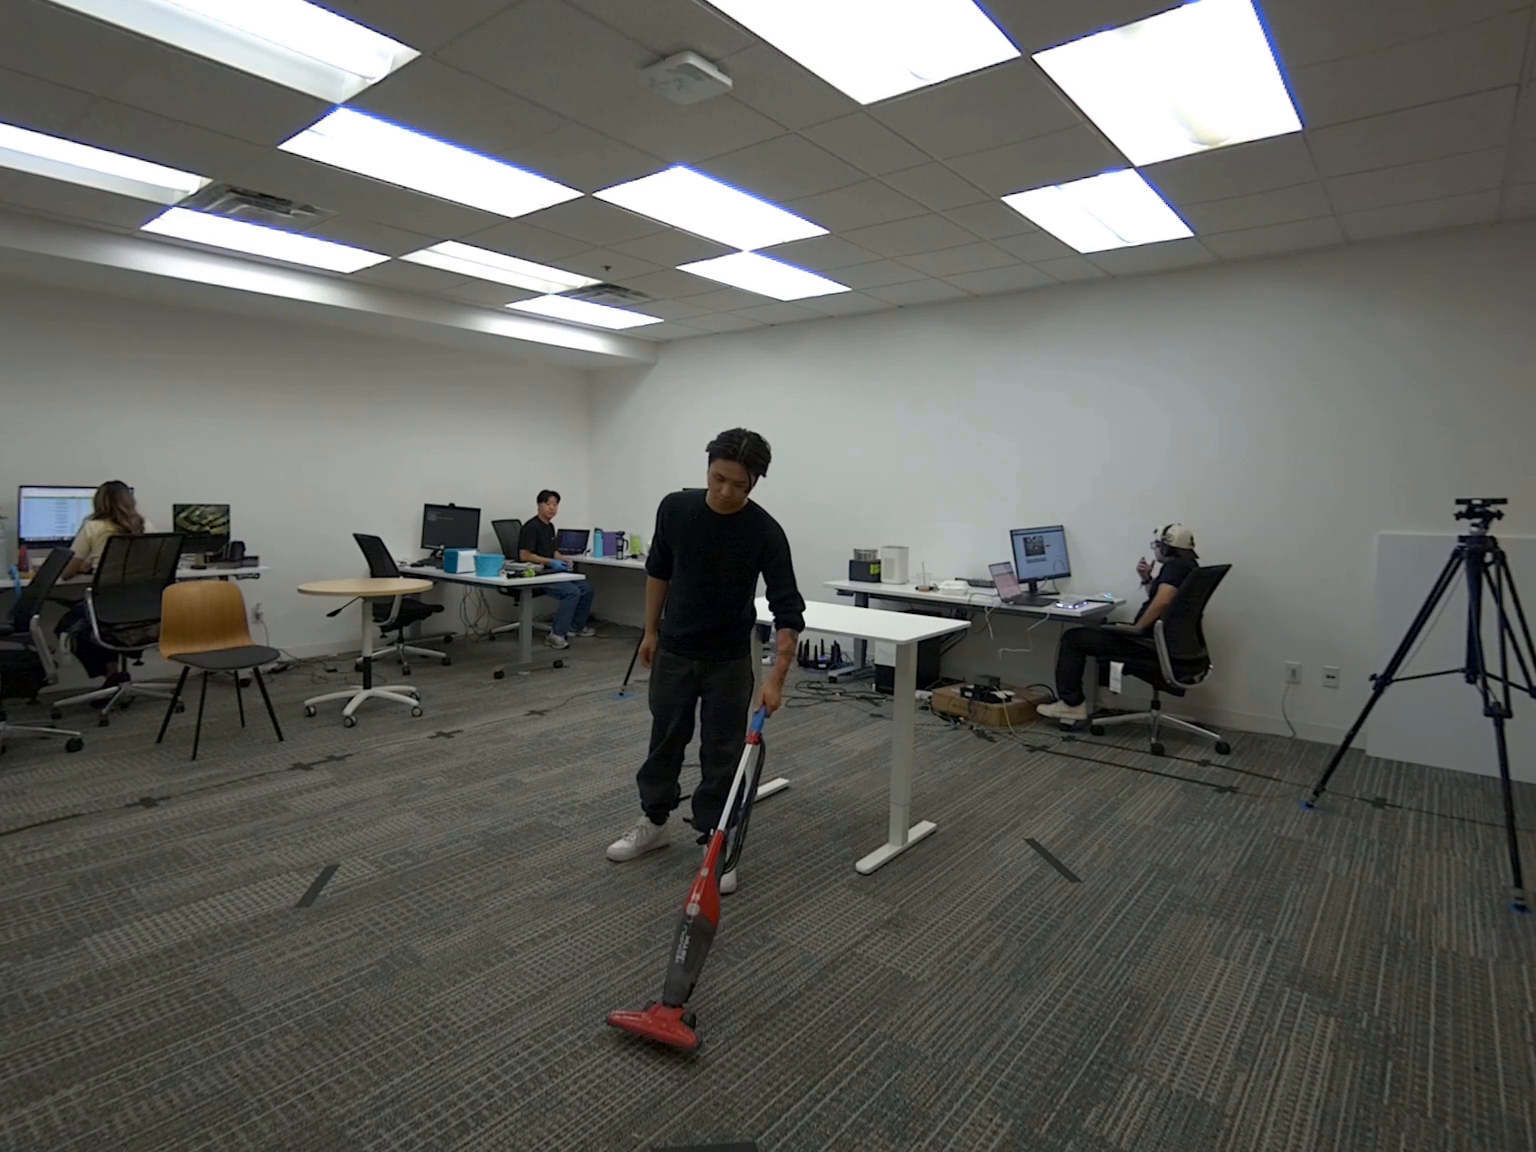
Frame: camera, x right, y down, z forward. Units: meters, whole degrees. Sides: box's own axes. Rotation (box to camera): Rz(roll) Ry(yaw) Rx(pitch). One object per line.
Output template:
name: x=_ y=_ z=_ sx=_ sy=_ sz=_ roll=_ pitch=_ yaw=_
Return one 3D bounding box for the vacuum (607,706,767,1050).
vacuum: x=-0.133 y=0.771 z=2.490 sx=0.258 sy=0.139 sz=1.064 roll=4 pitch=46 yaw=18
